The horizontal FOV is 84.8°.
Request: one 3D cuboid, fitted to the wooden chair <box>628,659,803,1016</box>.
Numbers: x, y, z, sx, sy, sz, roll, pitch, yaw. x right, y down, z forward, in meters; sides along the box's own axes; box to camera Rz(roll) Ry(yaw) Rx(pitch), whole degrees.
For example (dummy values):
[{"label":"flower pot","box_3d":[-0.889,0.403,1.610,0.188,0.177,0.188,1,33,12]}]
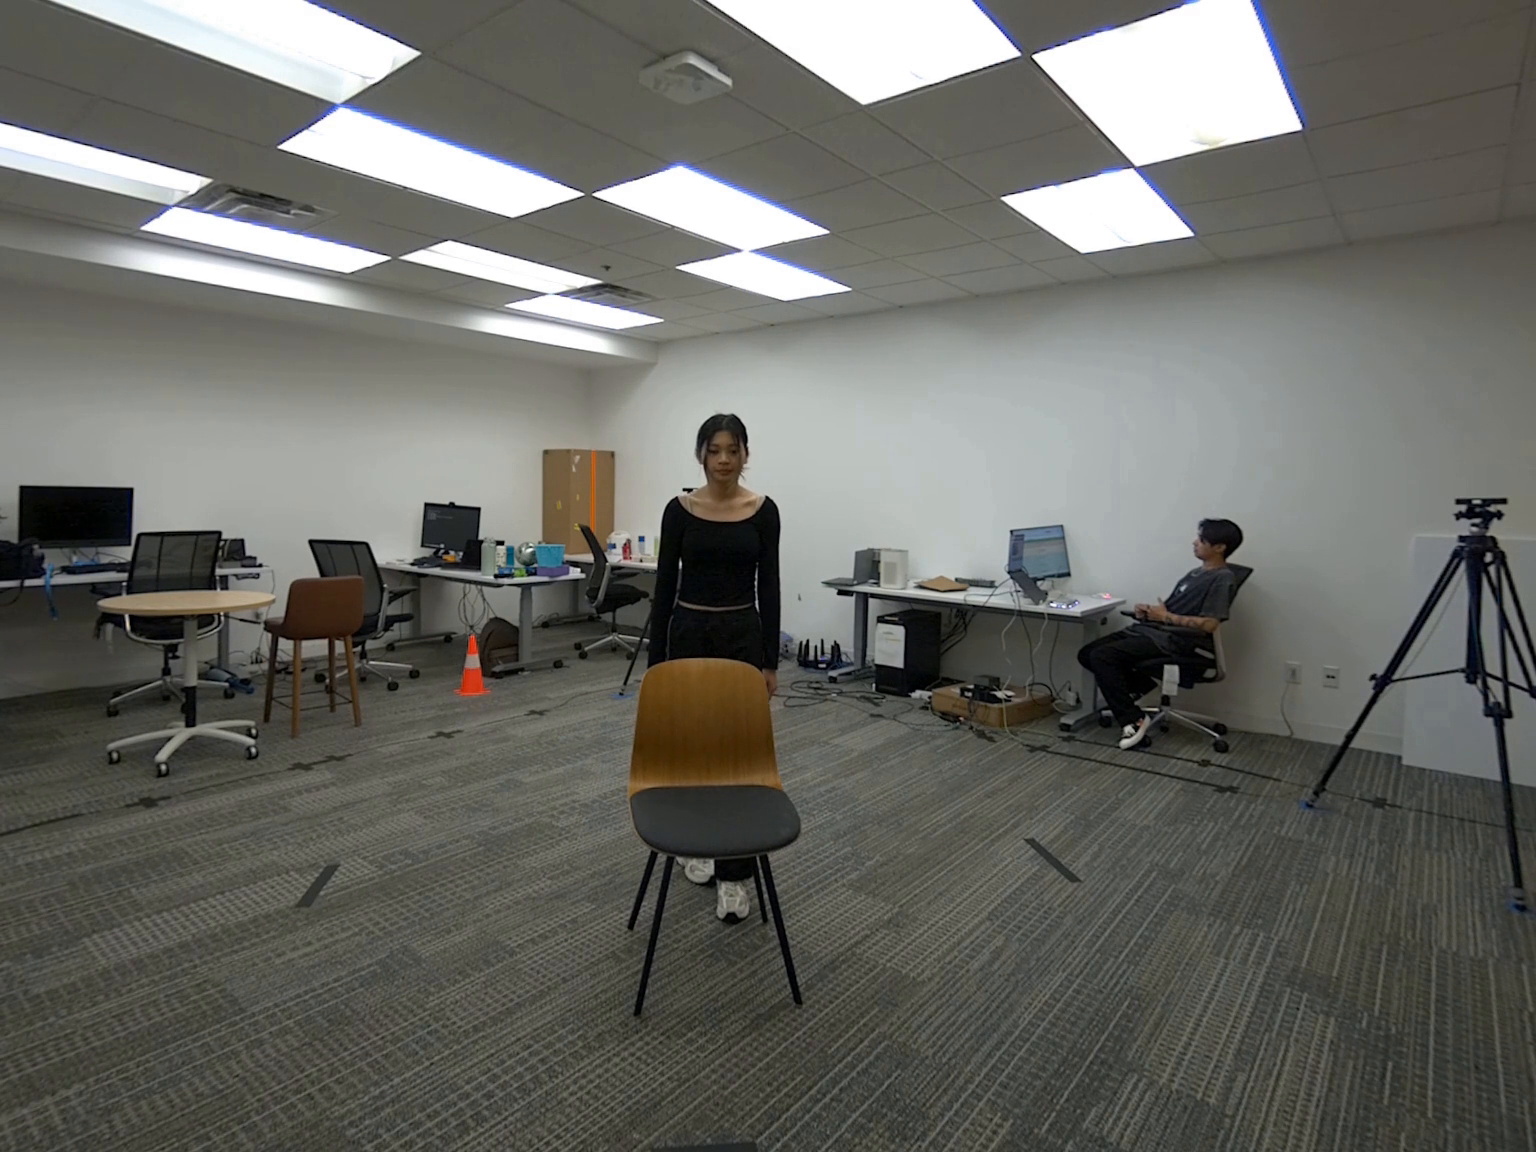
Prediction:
[{"label":"wooden chair","box_3d":[-0.165,0.707,2.449,0.473,0.878,0.528,1,0,-10]}]
